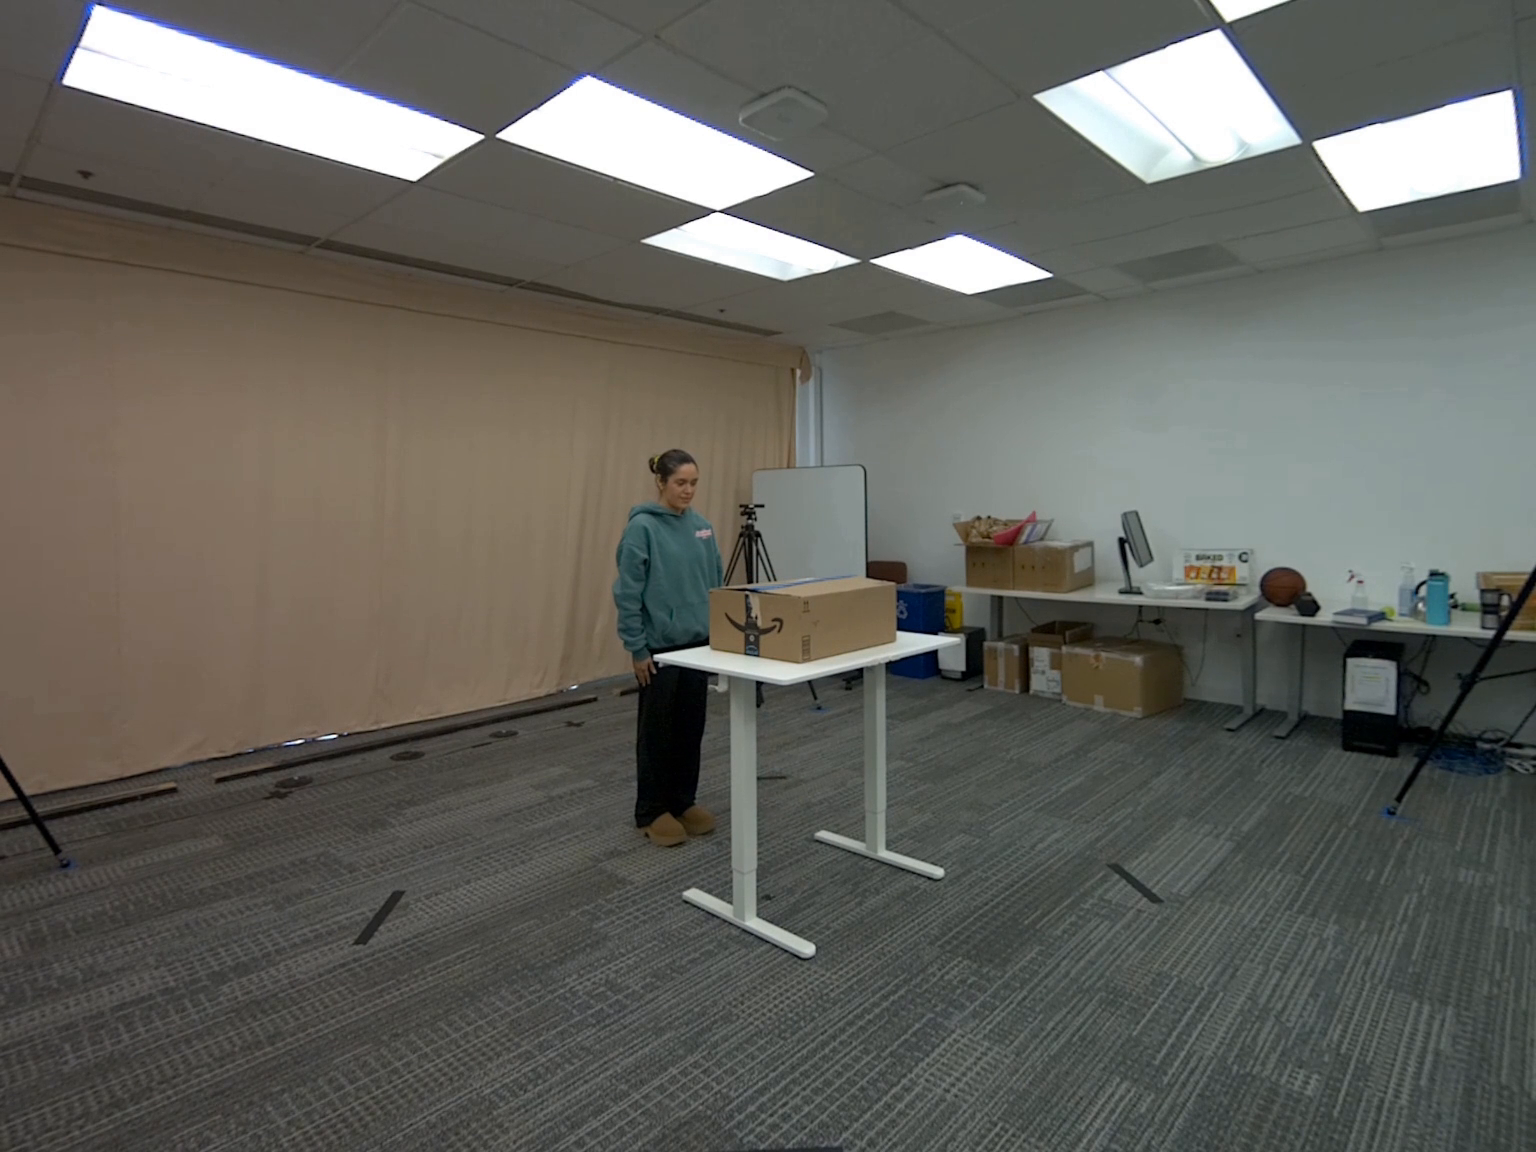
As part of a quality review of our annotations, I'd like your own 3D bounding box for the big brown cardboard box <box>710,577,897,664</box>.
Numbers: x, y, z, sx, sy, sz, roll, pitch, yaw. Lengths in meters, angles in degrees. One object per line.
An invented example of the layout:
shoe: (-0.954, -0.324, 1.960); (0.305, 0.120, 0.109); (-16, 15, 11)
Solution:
big brown cardboard box: (0.137, 0.144, 3.026); (0.431, 0.232, 0.571); (4, 7, 43)
